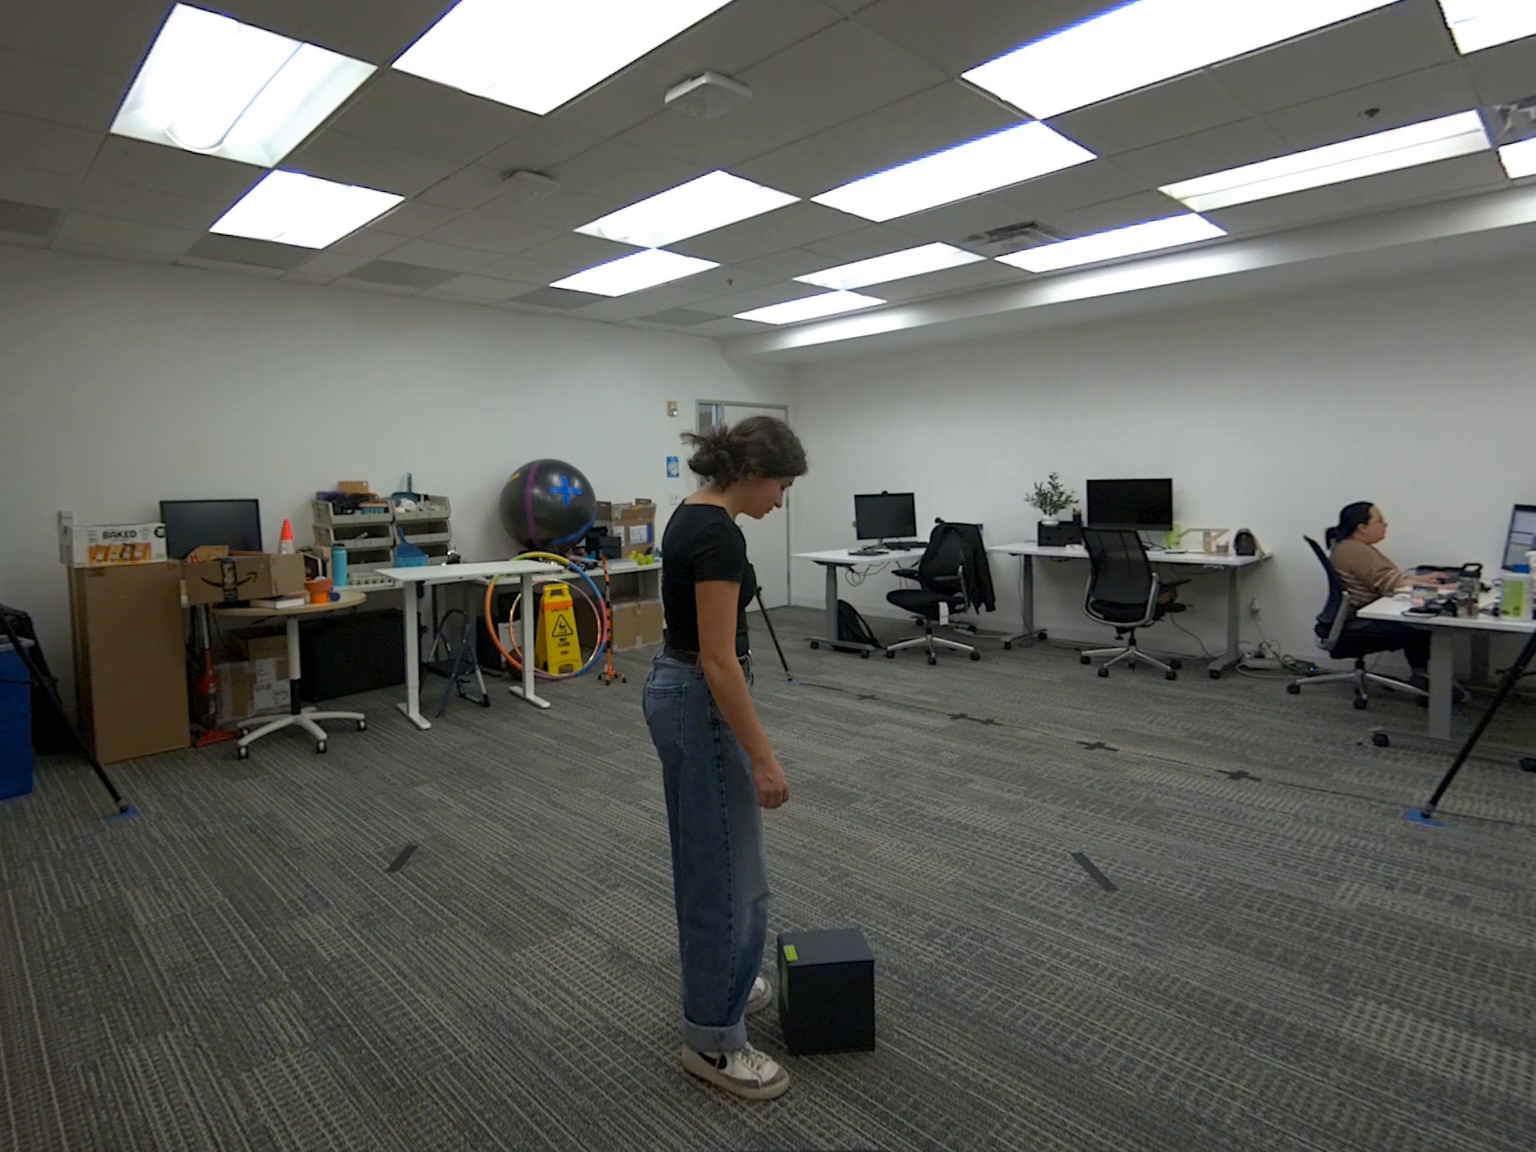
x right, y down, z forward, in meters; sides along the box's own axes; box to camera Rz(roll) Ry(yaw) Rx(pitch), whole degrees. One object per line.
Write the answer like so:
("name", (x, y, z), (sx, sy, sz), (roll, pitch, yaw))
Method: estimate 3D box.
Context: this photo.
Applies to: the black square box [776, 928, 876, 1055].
("black square box", (0.153, 1.033, 2.144), (0.216, 0.227, 0.157), (-2, 5, -6))
